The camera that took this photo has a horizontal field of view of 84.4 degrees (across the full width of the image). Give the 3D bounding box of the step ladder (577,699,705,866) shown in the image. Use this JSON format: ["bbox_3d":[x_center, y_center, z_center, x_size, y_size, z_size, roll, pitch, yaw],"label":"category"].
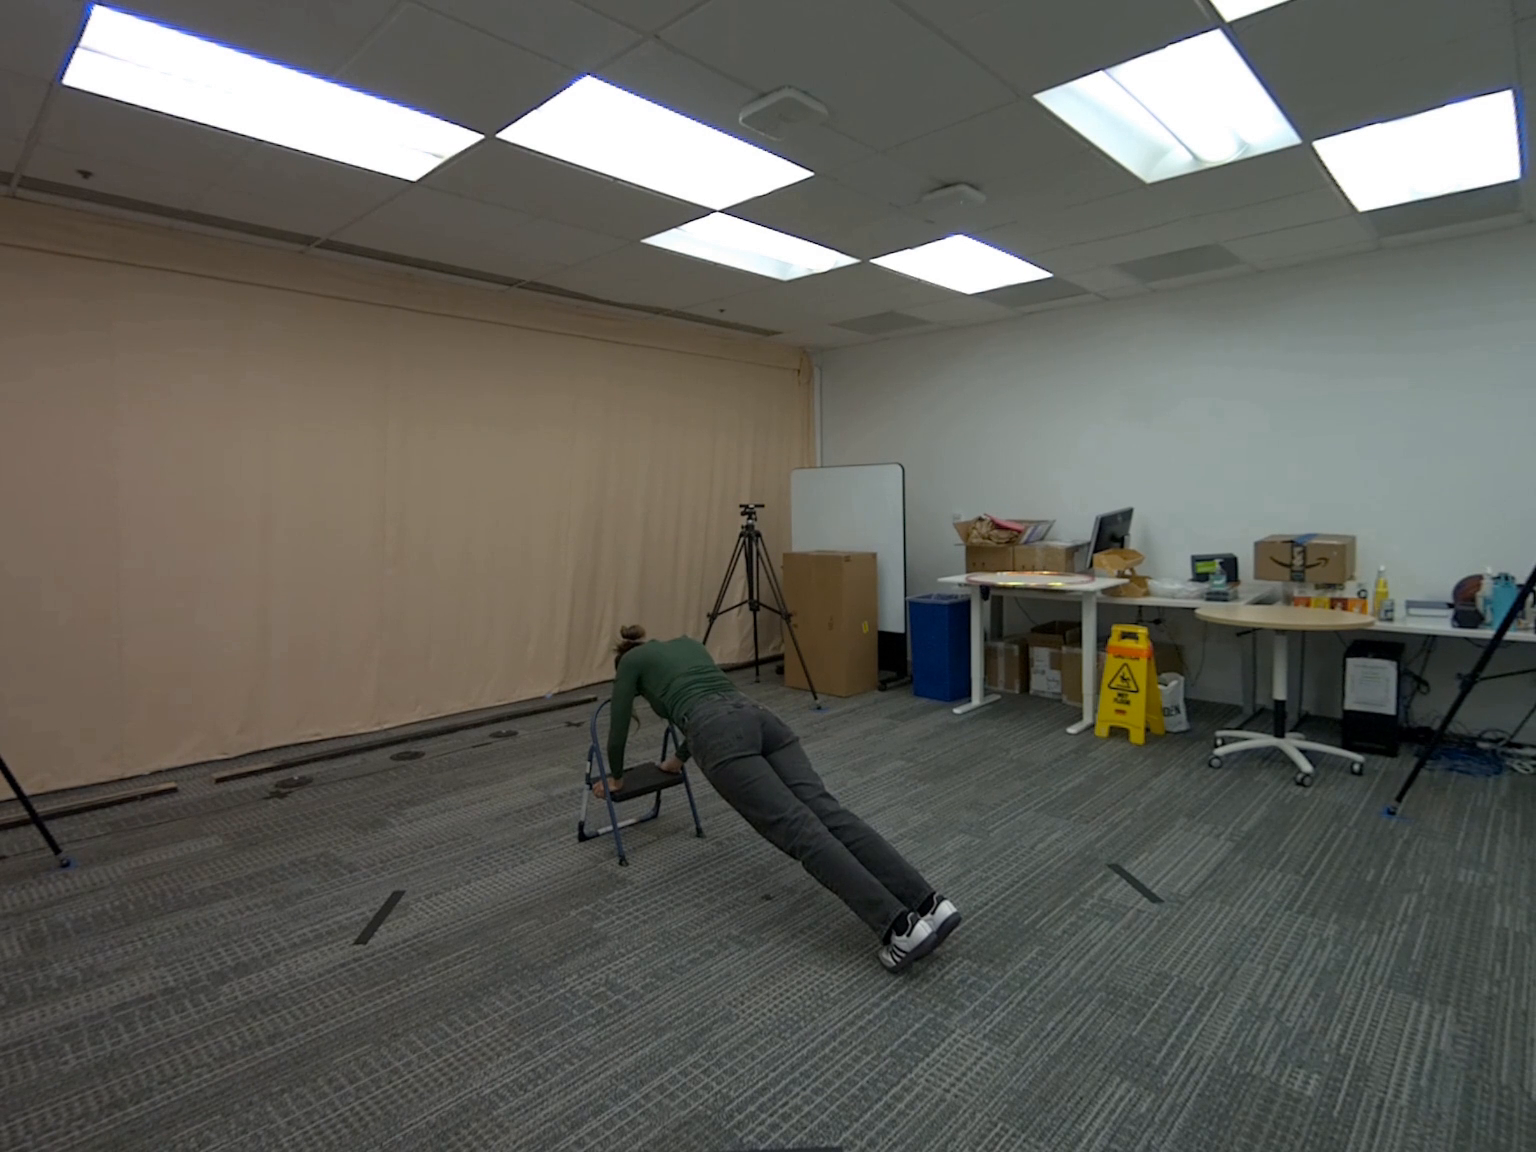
[{"bbox_3d":[-0.539,0.805,3.525,0.417,0.605,0.361,-4,4,-43],"label":"step ladder"}]
